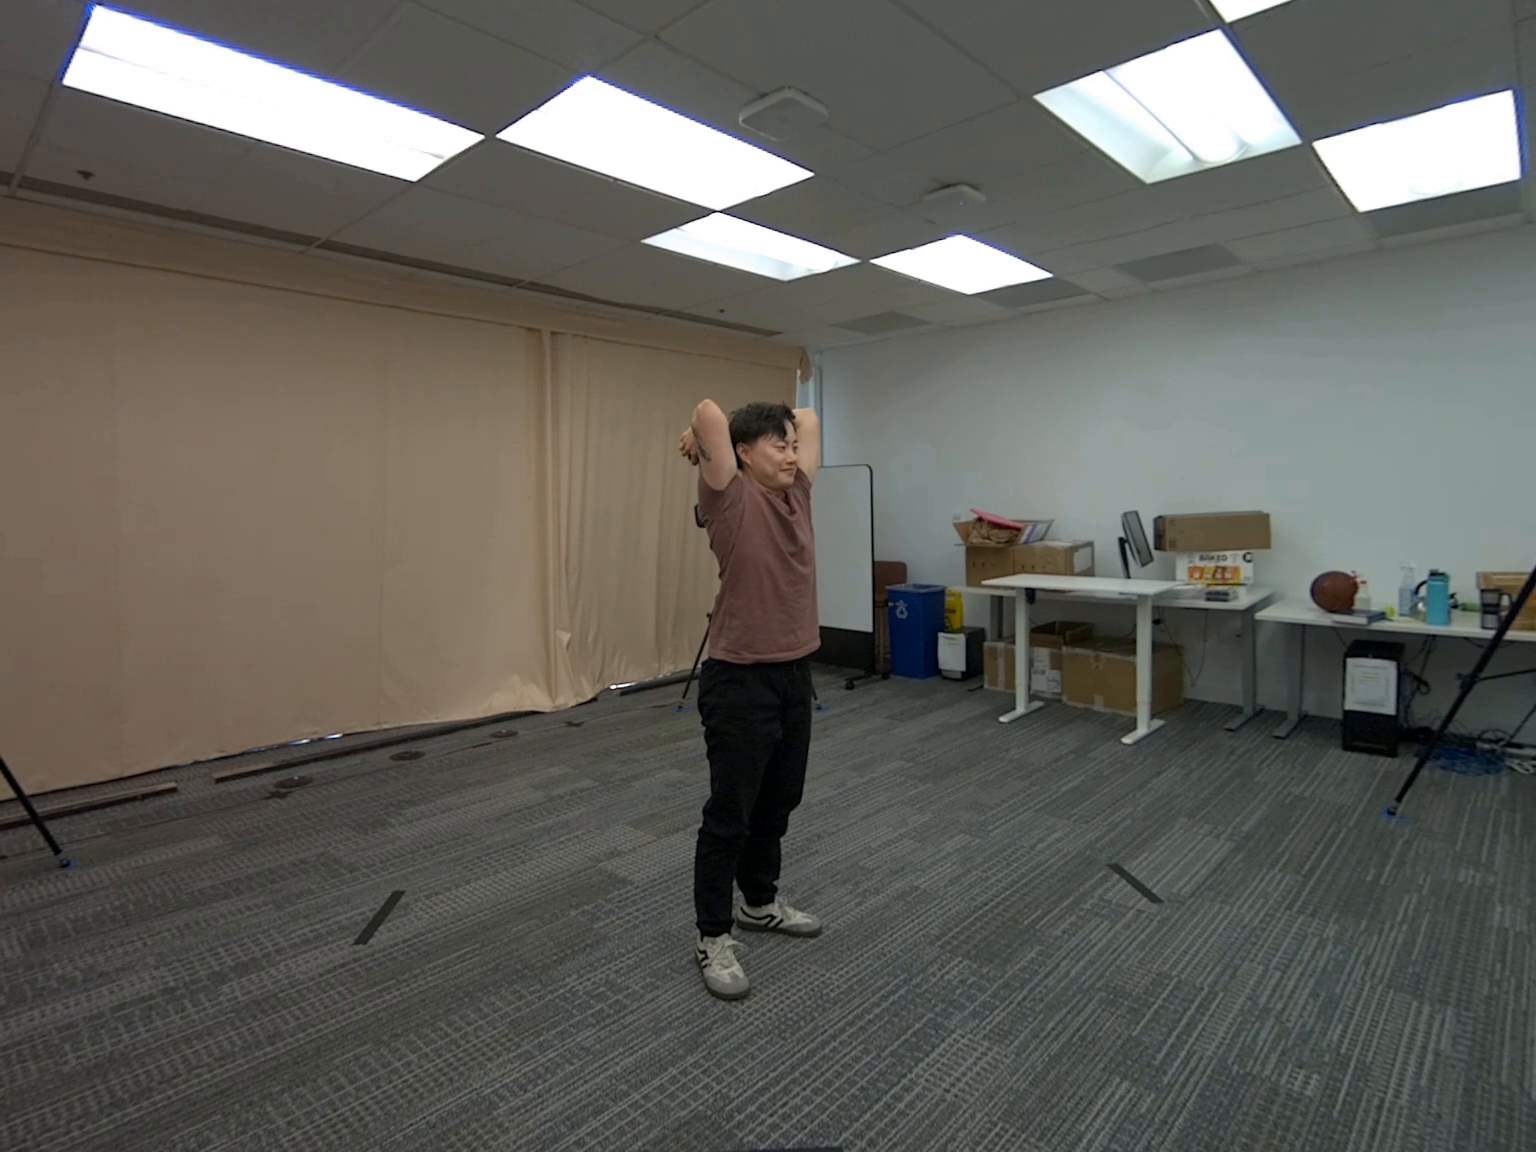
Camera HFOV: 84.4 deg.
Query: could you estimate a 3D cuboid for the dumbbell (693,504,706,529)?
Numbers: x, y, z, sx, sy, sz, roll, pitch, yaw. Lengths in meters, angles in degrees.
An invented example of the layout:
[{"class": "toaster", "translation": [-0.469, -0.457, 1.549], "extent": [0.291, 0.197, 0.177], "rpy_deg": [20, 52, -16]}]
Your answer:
[{"class": "dumbbell", "translation": [-0.172, -0.322, 2.674], "extent": [0.105, 0.294, 0.126], "rpy_deg": [-6, -2, -38]}]
